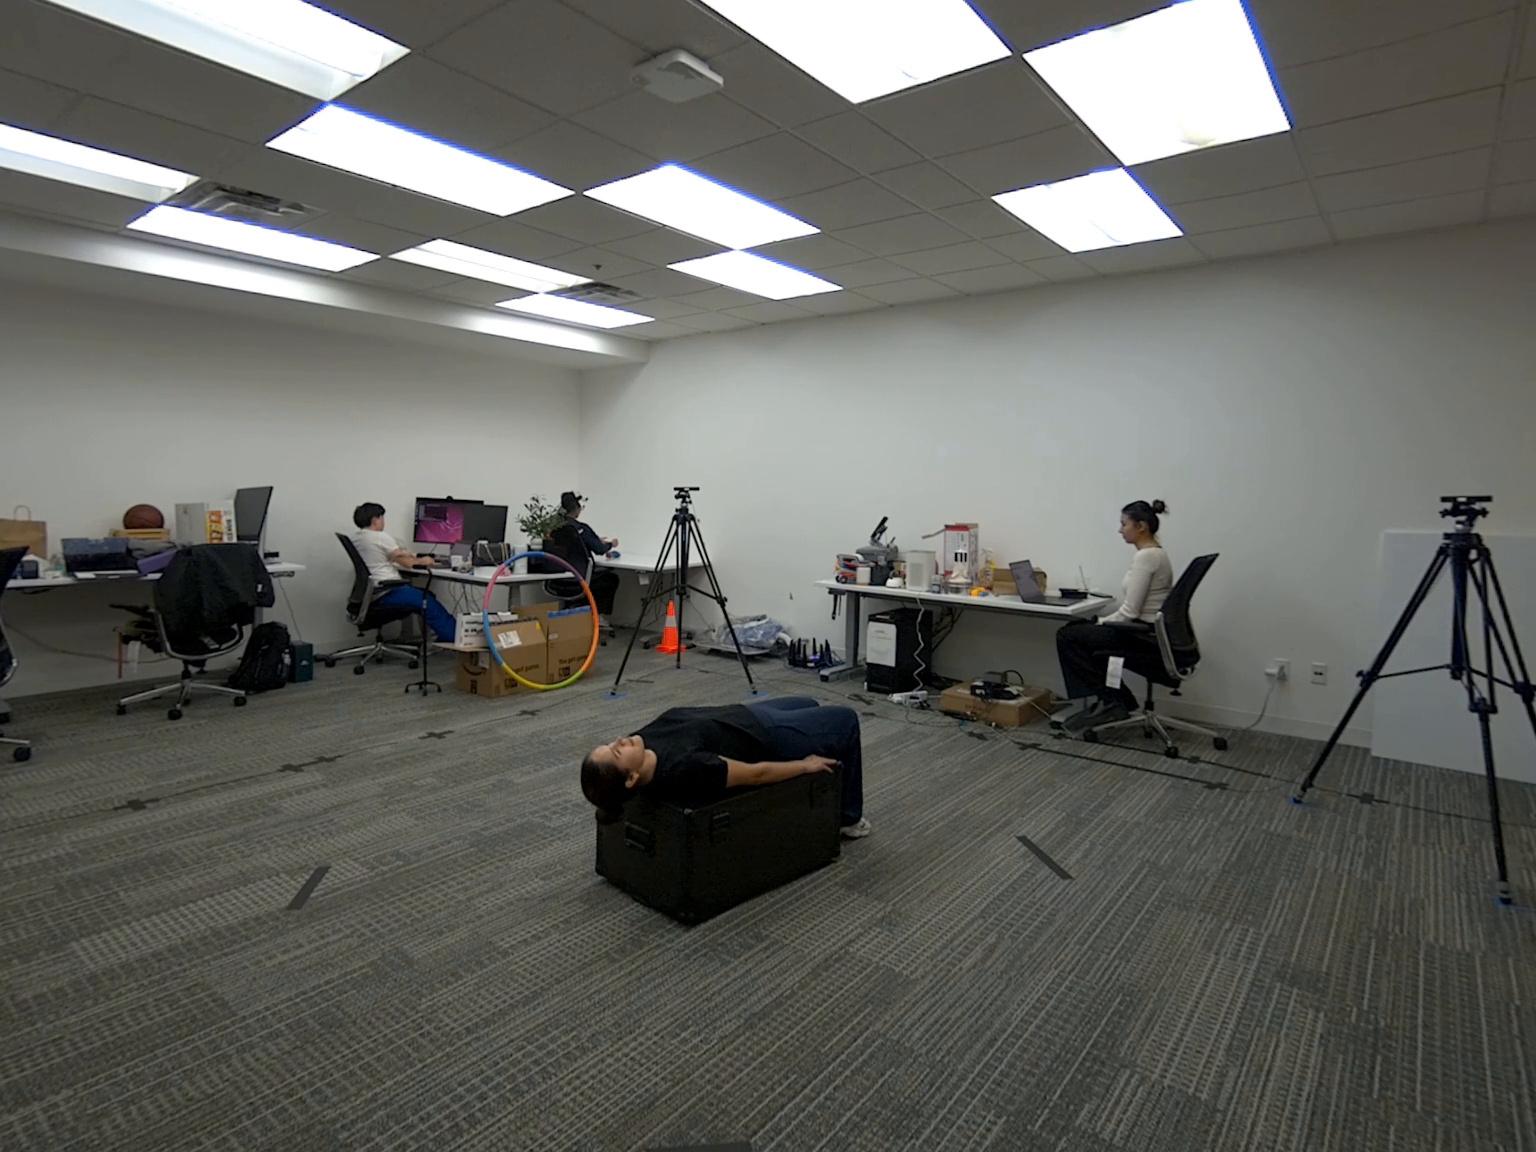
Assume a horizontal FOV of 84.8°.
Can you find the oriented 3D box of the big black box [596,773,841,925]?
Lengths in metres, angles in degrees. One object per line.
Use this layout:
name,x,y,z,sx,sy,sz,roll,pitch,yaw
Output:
big black box,-0.173,0.890,3.083,0.835,0.395,0.539,-2,5,-45
